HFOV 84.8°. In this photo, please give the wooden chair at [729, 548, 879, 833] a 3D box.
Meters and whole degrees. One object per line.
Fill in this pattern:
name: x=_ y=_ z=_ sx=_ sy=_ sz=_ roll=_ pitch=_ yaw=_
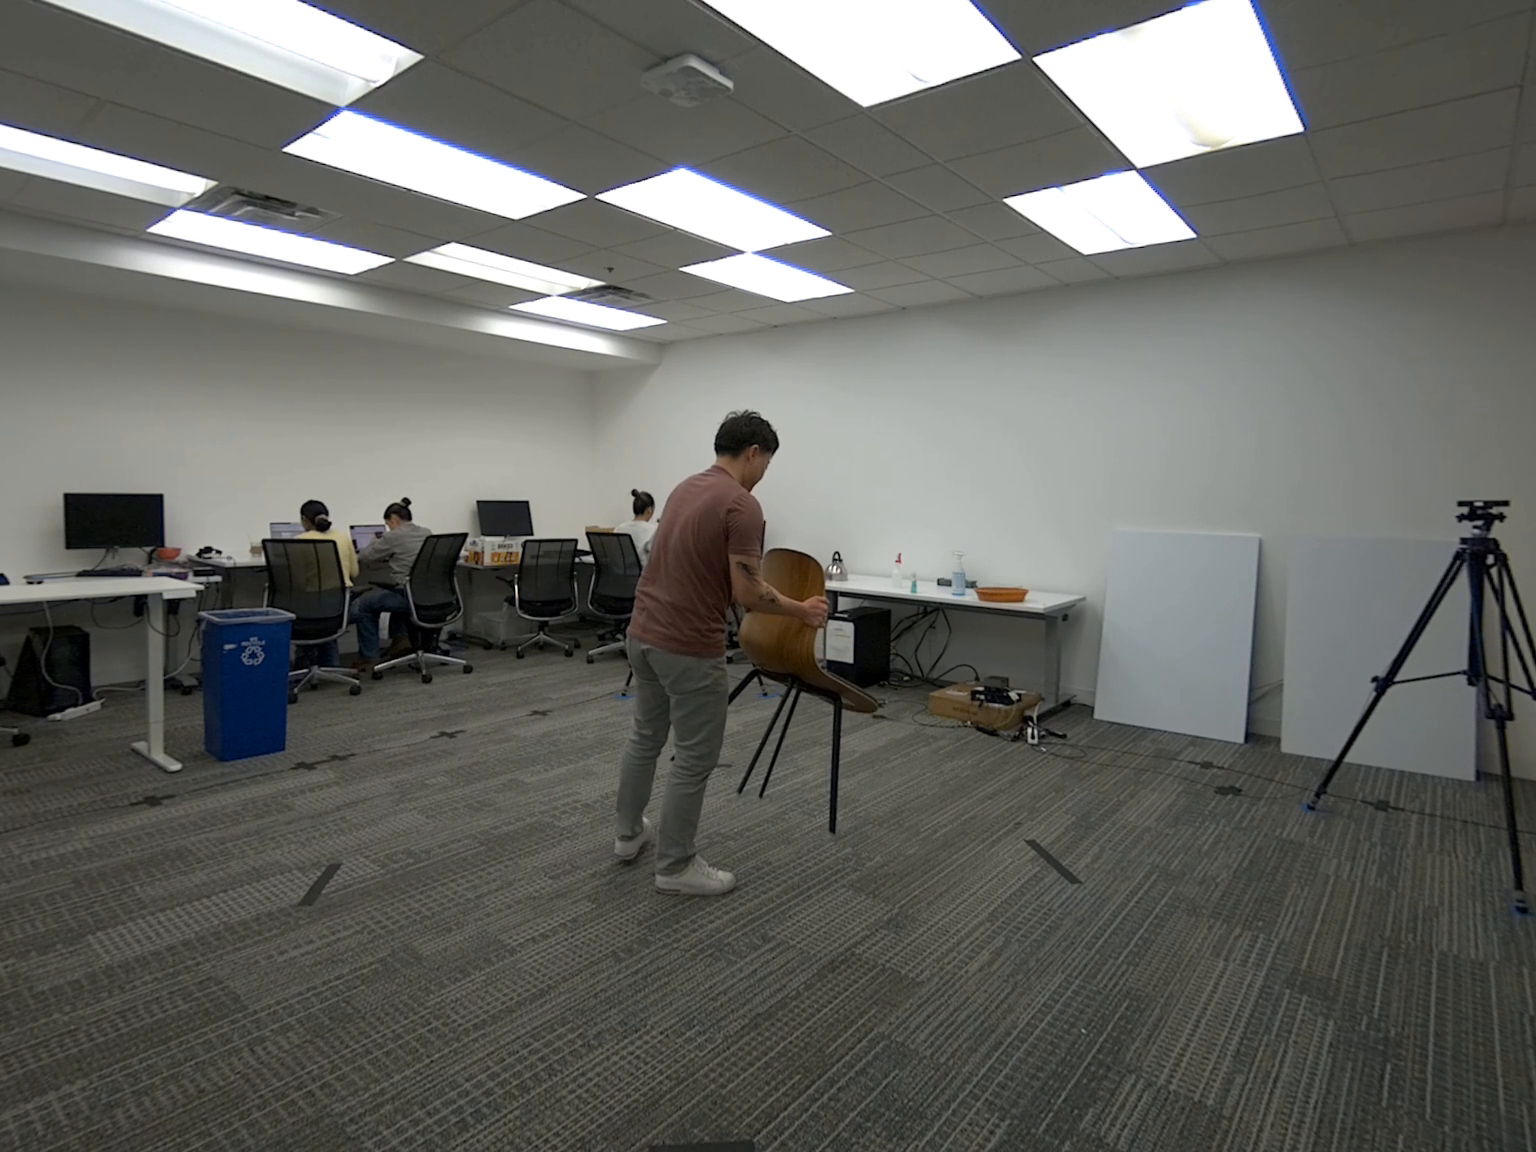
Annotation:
wooden chair: x=0.099 y=0.401 z=3.118 sx=0.504 sy=0.882 sz=0.493 roll=26 pitch=-12 yaw=-32
